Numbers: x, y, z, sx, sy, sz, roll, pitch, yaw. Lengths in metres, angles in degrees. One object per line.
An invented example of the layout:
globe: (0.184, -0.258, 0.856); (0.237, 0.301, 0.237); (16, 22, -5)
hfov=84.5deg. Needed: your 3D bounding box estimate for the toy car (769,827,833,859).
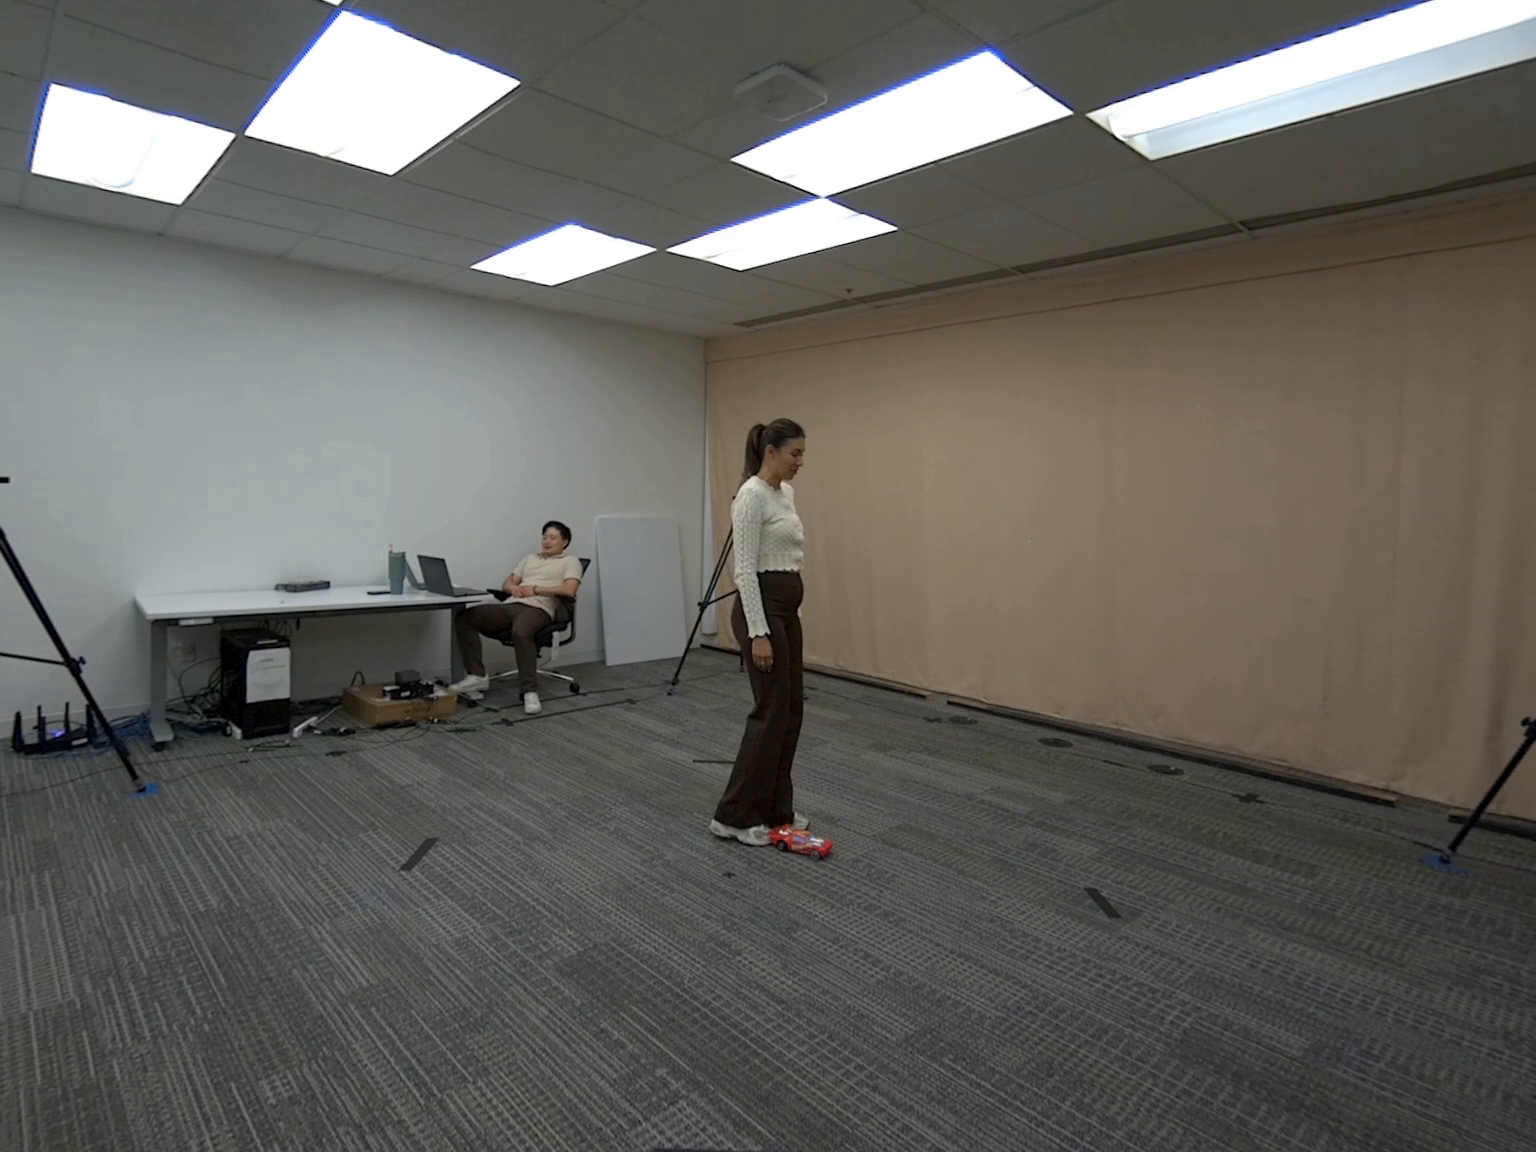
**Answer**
toy car: (0.121, 1.059, 3.335); (0.261, 0.083, 0.128); (15, 11, 29)
